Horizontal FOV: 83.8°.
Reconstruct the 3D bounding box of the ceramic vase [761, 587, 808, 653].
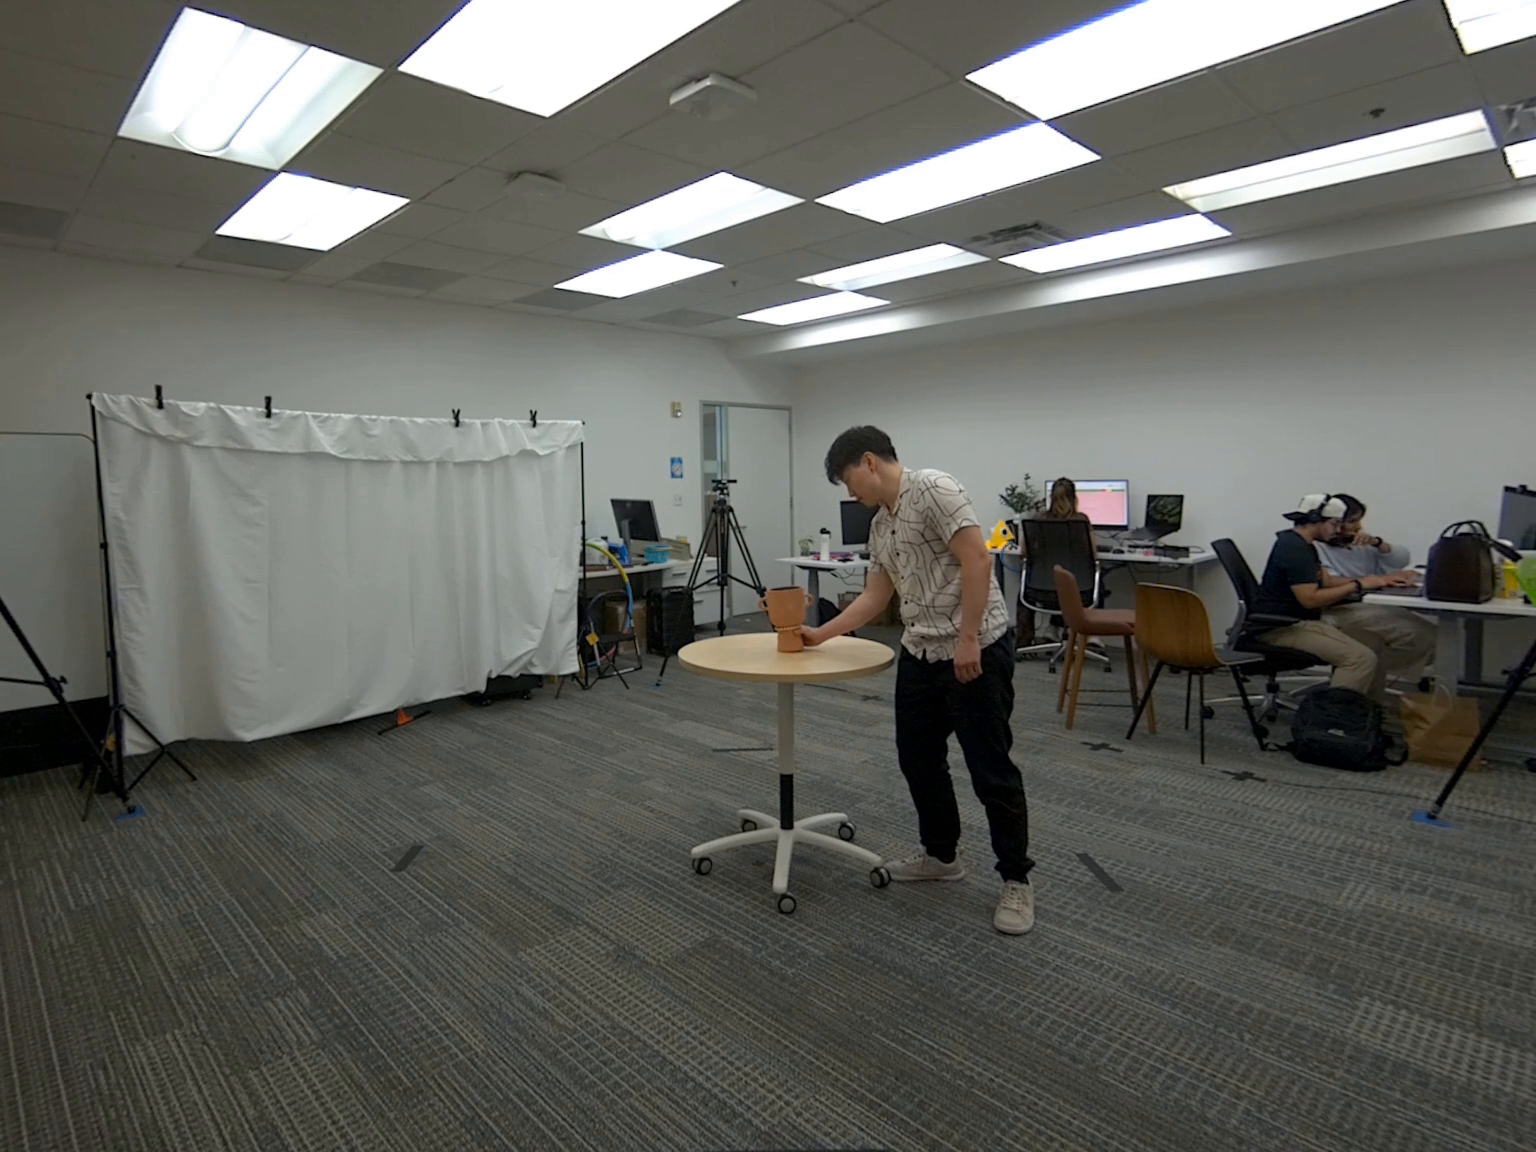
[{"bbox_3d":[0.076,0.156,3.063,0.163,0.219,0.131,-2,3,41],"label":"ceramic vase"}]
